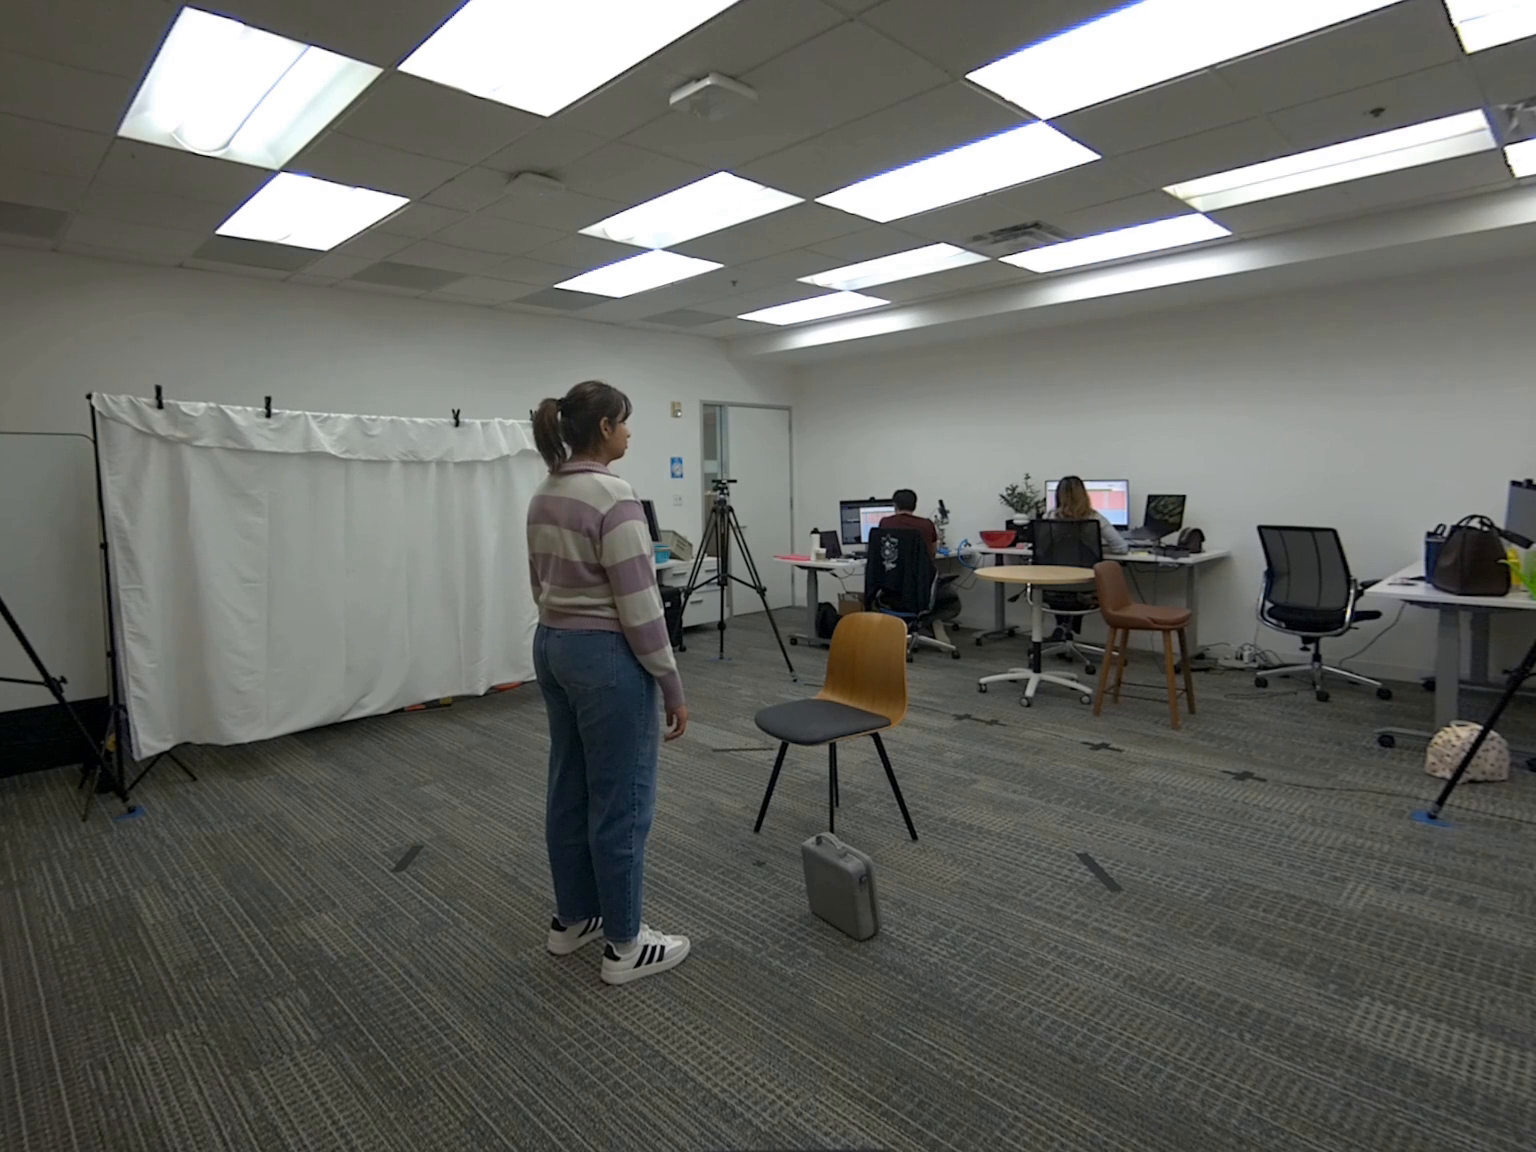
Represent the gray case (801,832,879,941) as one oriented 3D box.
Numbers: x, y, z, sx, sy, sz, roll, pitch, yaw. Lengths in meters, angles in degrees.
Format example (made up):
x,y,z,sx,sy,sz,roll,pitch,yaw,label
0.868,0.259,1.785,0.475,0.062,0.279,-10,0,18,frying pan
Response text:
x,y,z,sx,sy,sz,roll,pitch,yaw,label
0.231,0.955,2.667,0.102,0.259,0.264,-10,9,-30,gray case
